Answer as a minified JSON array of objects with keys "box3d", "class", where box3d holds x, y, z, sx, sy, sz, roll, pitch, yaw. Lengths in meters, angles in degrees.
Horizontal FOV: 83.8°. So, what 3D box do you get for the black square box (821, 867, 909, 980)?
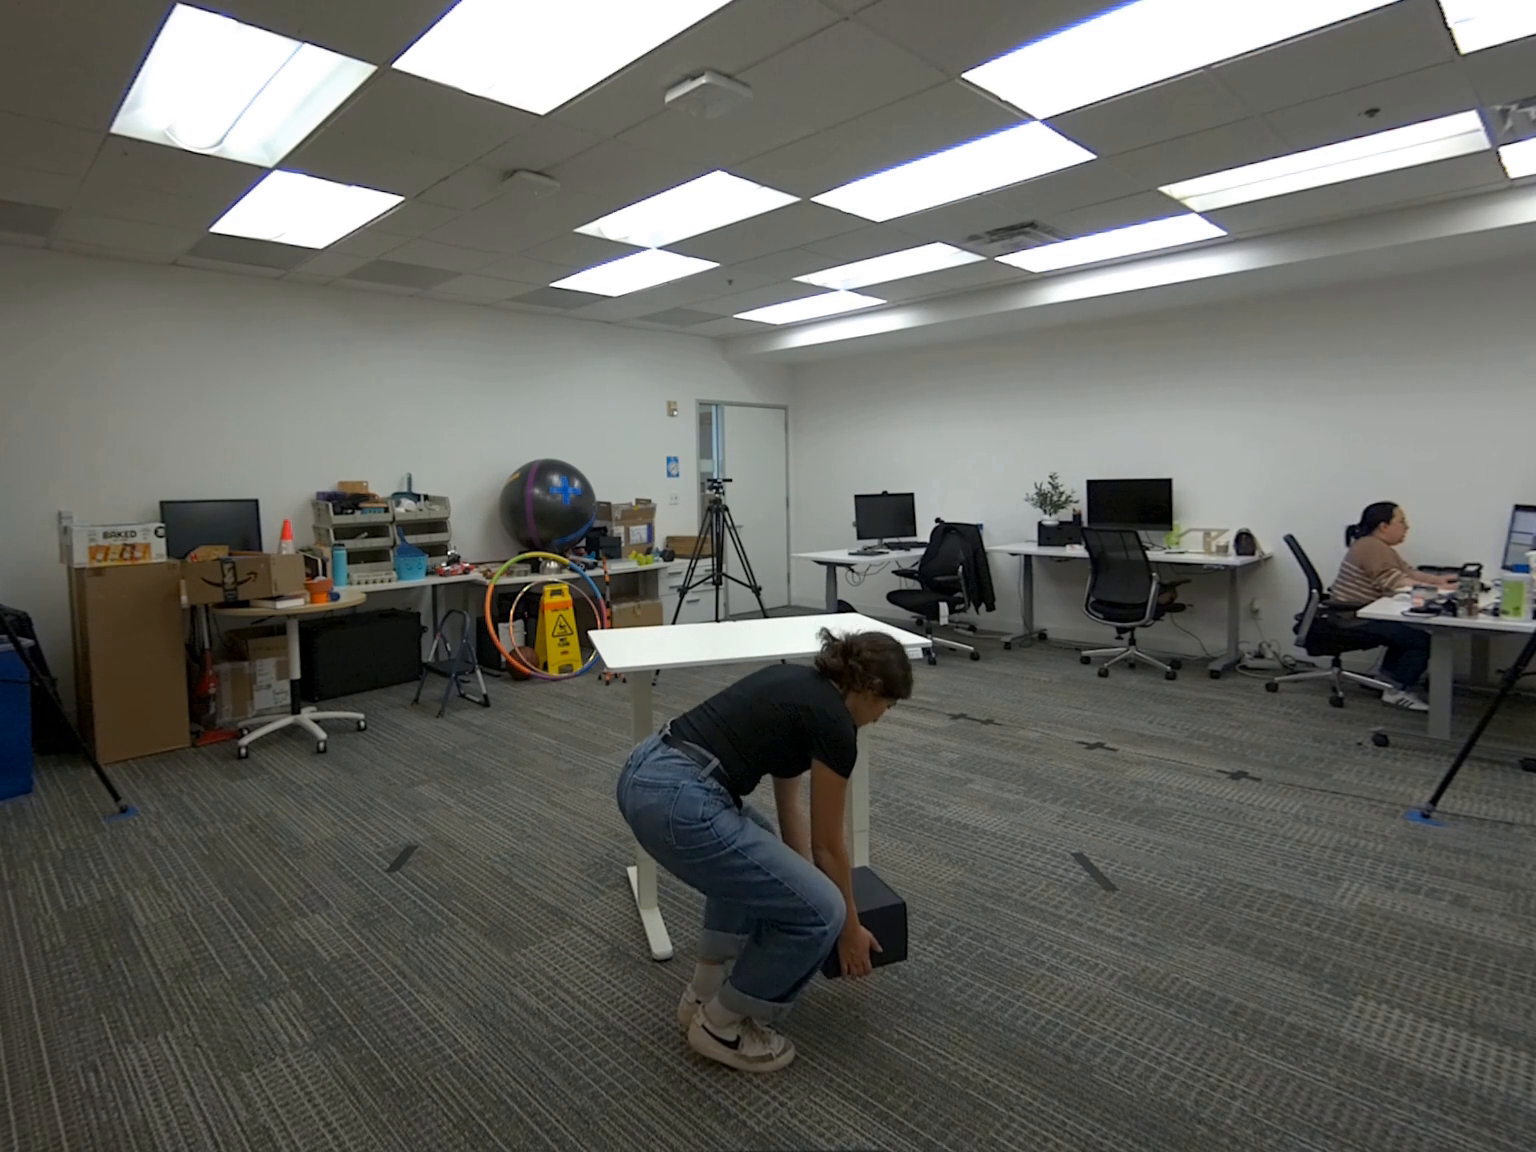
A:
[{"box3d":[0.210,0.895,2.212,0.224,0.155,0.222,-5,8,-18],"class":"black square box"}]
